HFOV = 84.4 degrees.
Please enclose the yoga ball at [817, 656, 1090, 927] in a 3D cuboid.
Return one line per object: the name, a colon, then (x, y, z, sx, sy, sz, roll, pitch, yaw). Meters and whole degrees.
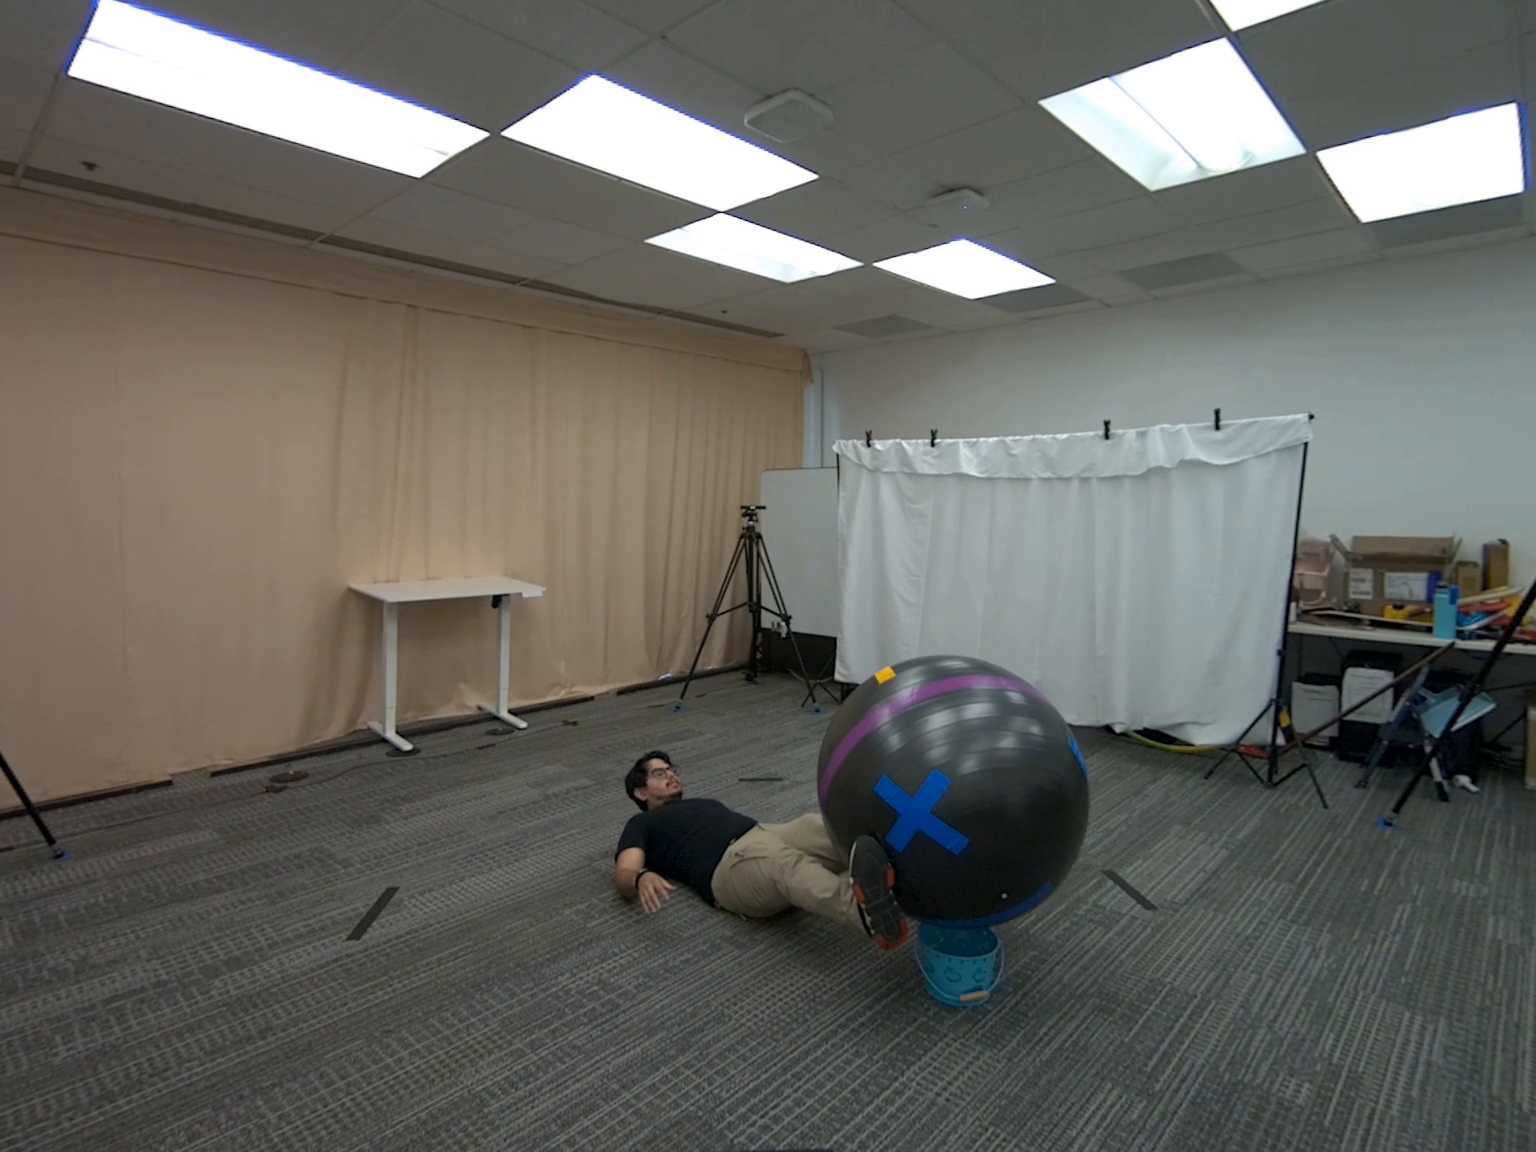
yoga ball: (0.529, 0.615, 2.446, 0.757, 0.756, 0.760, 0, 4, -2)
